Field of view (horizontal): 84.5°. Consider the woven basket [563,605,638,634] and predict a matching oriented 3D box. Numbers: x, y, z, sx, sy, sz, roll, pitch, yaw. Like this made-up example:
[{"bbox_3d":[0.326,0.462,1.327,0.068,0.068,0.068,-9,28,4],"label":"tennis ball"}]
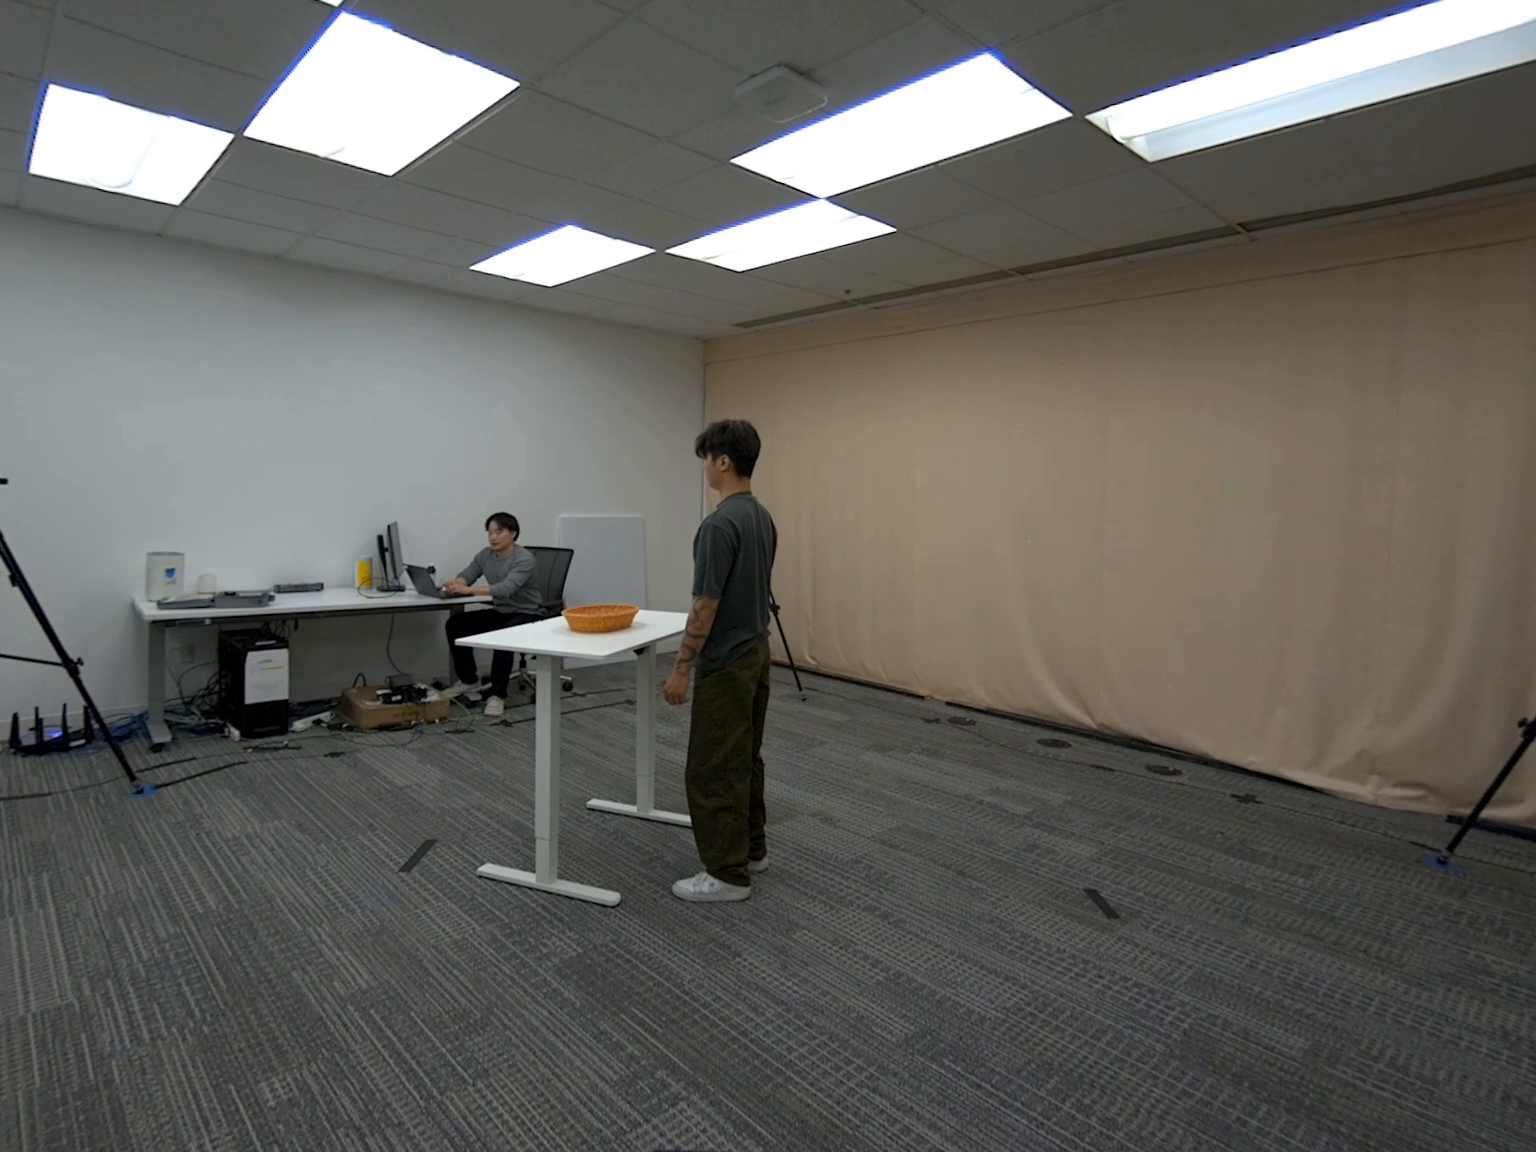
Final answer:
[{"bbox_3d":[-0.654,0.172,3.246,0.257,0.073,0.344,4,6,27],"label":"woven basket"}]
